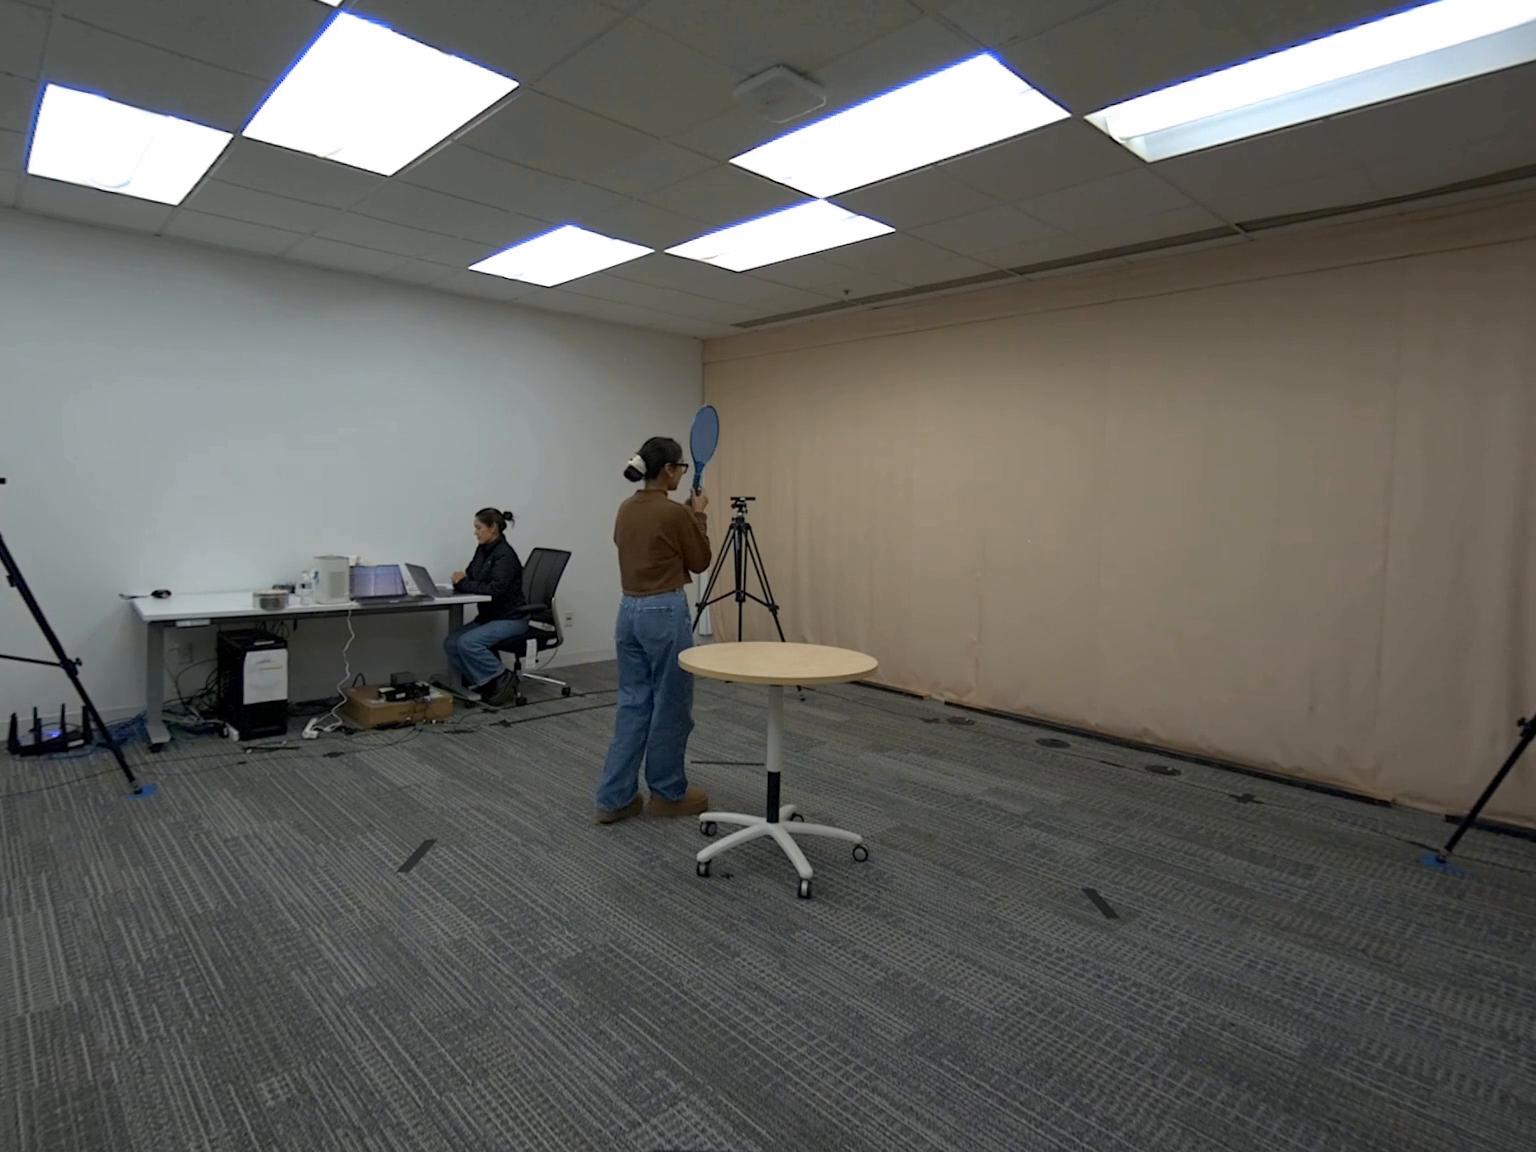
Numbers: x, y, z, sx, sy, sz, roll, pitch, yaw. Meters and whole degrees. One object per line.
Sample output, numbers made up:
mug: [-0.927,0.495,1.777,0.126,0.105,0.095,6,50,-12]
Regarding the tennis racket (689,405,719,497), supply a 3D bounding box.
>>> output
tennis racket: [-0.308,-0.545,3.739,0.032,0.432,0.209,11,5,29]
